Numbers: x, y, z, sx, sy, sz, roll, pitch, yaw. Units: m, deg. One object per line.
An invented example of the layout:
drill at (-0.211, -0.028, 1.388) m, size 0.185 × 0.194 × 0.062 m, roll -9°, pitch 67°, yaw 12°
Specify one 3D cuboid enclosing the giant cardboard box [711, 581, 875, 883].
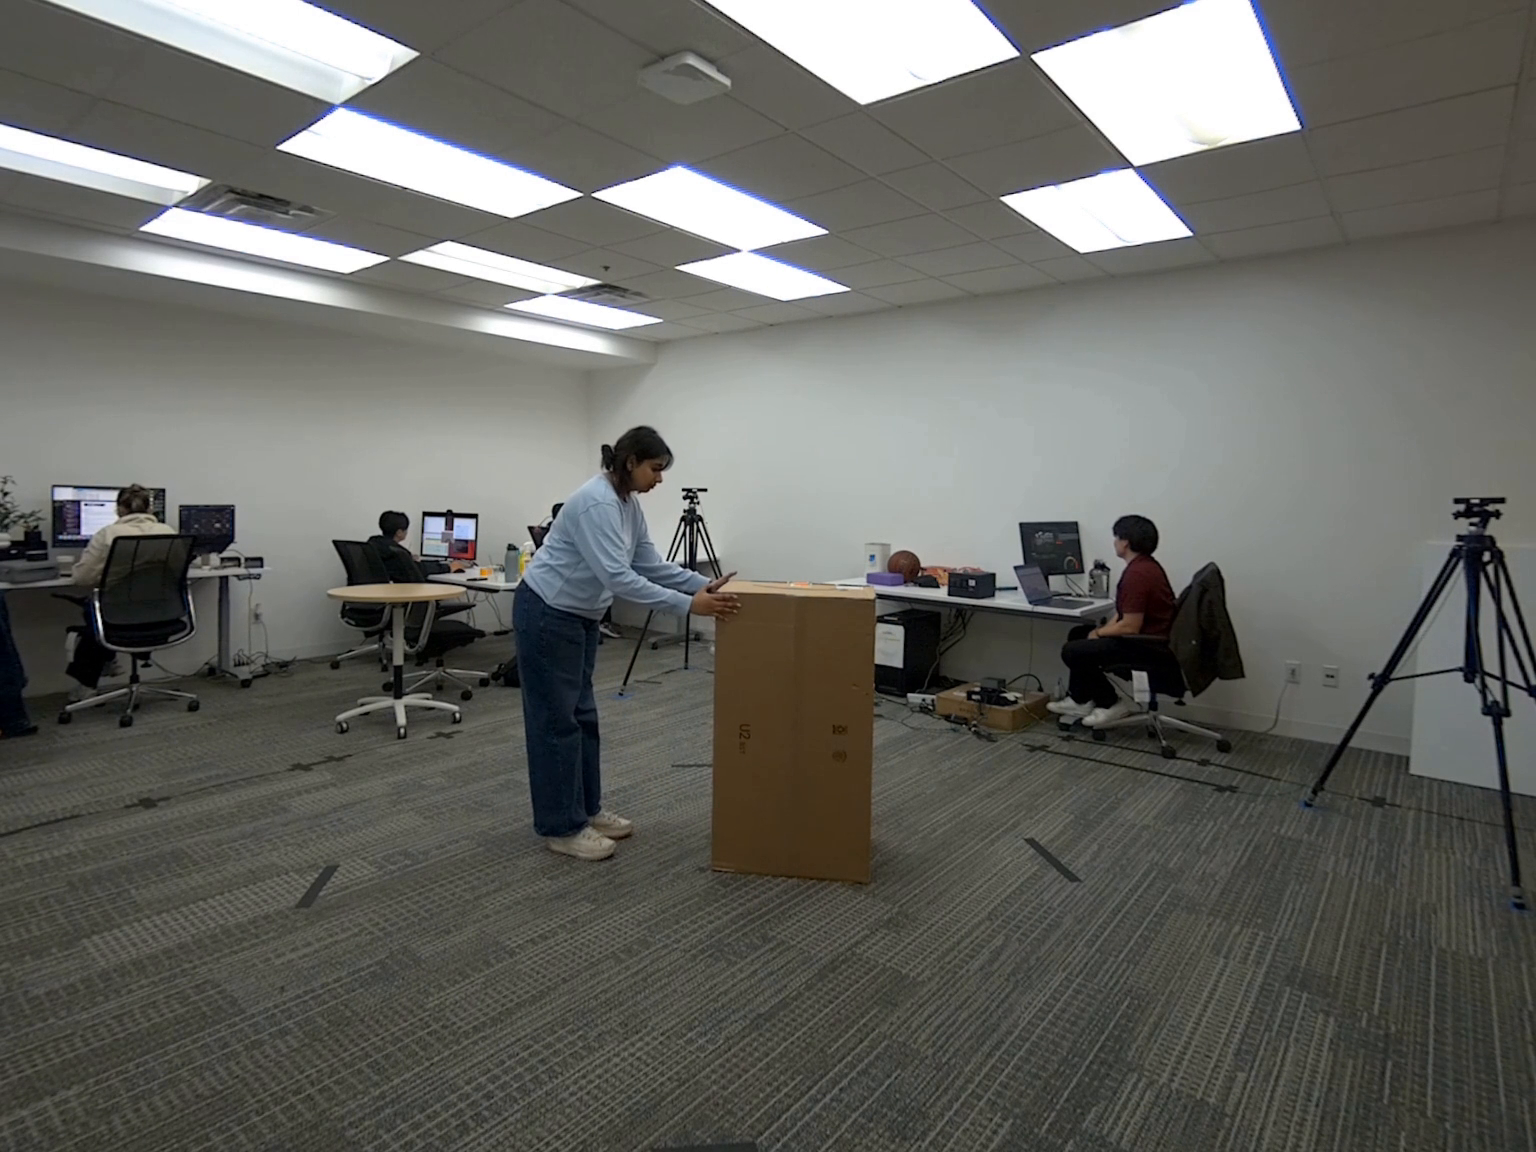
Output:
giant cardboard box at (0.099, 0.556, 3.237) m, size 0.582 × 1.023 × 0.424 m, roll 2°, pitch 3°, yaw 7°
